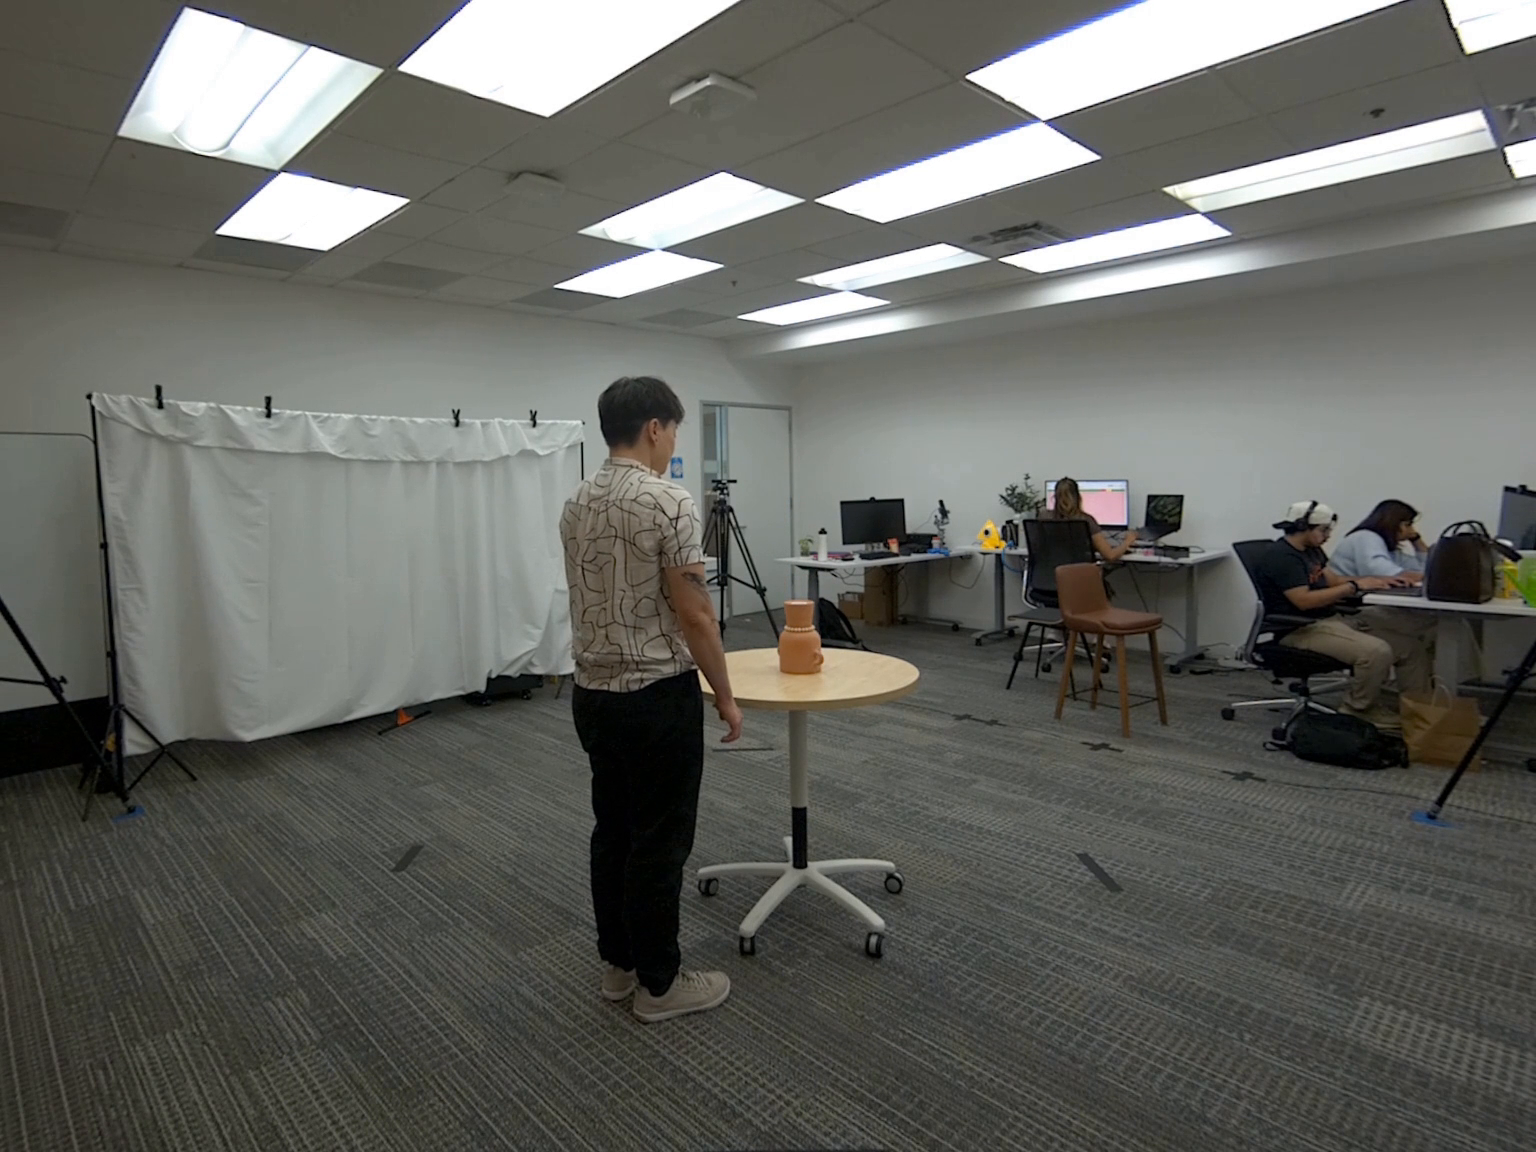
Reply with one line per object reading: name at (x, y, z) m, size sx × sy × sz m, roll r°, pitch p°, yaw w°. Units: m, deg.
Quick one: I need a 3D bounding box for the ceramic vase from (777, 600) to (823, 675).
ceramic vase at (0.098, 0.190, 2.742) m, size 0.160 × 0.219 × 0.133 m, roll -1°, pitch 2°, yaw 9°
